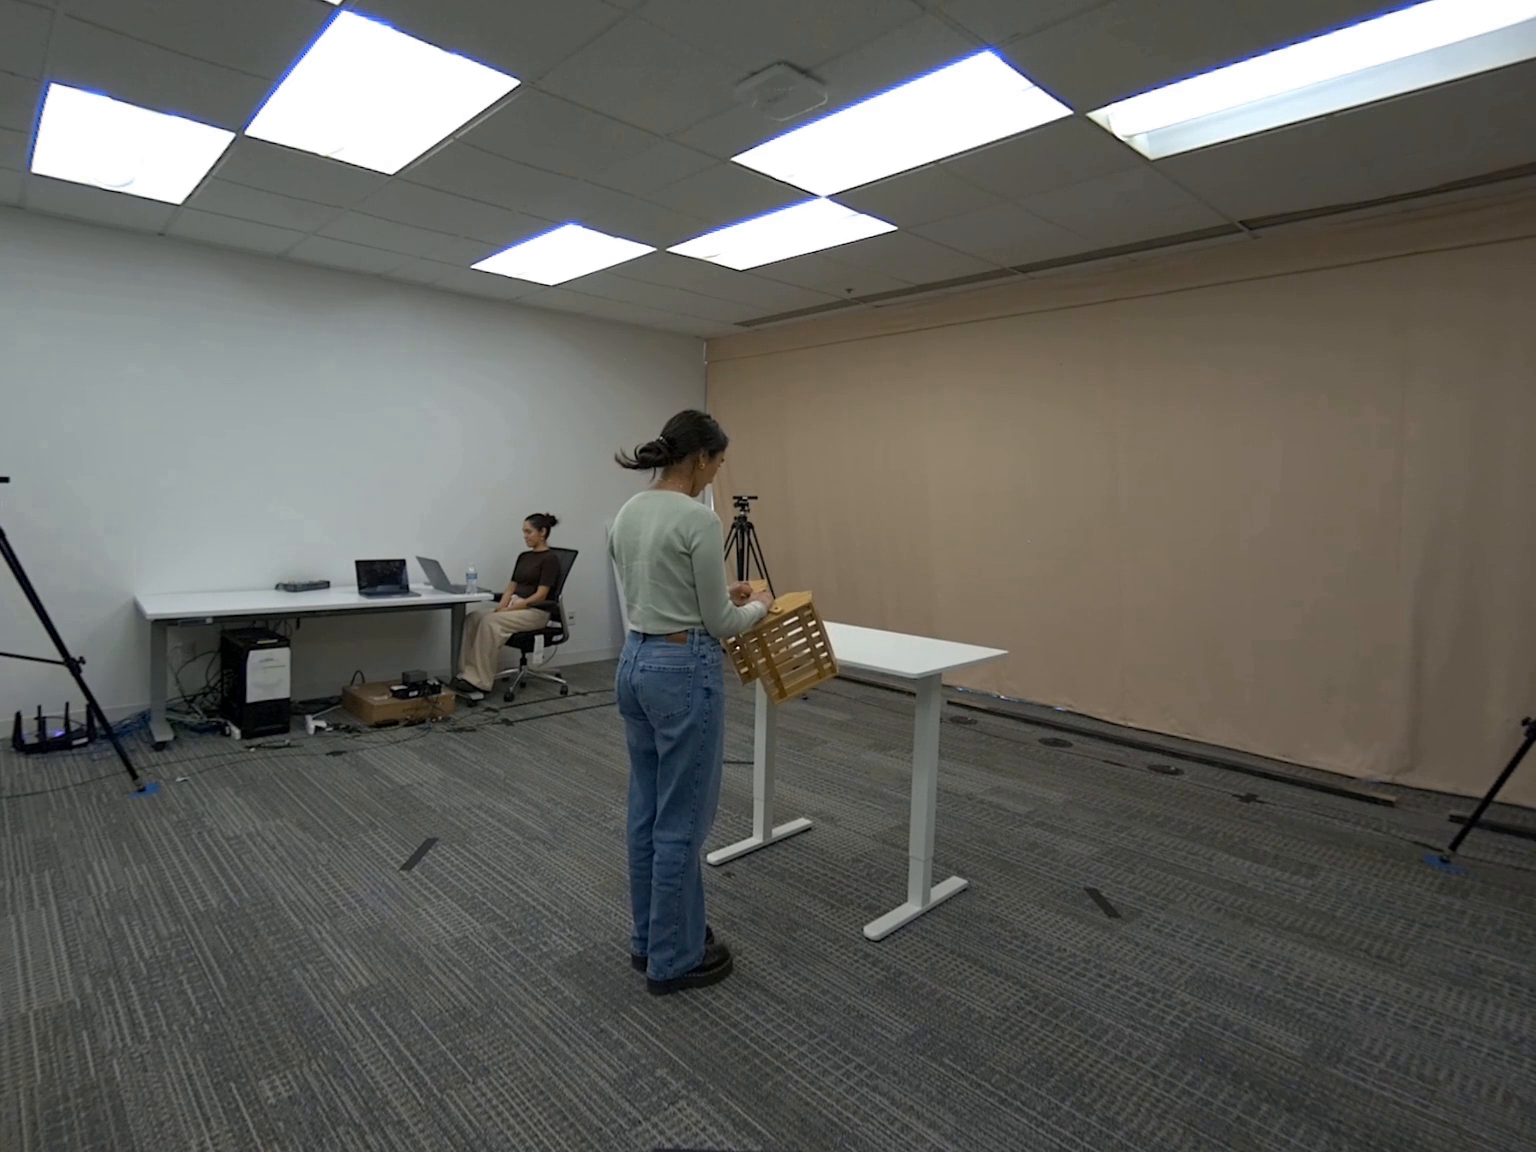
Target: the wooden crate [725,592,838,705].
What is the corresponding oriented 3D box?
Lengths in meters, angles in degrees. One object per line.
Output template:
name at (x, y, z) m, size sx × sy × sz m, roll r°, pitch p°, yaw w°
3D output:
wooden crate at (0.006, 0.187, 2.687) m, size 0.301 × 0.316 × 0.281 m, roll -25°, pitch 30°, yaw -8°
